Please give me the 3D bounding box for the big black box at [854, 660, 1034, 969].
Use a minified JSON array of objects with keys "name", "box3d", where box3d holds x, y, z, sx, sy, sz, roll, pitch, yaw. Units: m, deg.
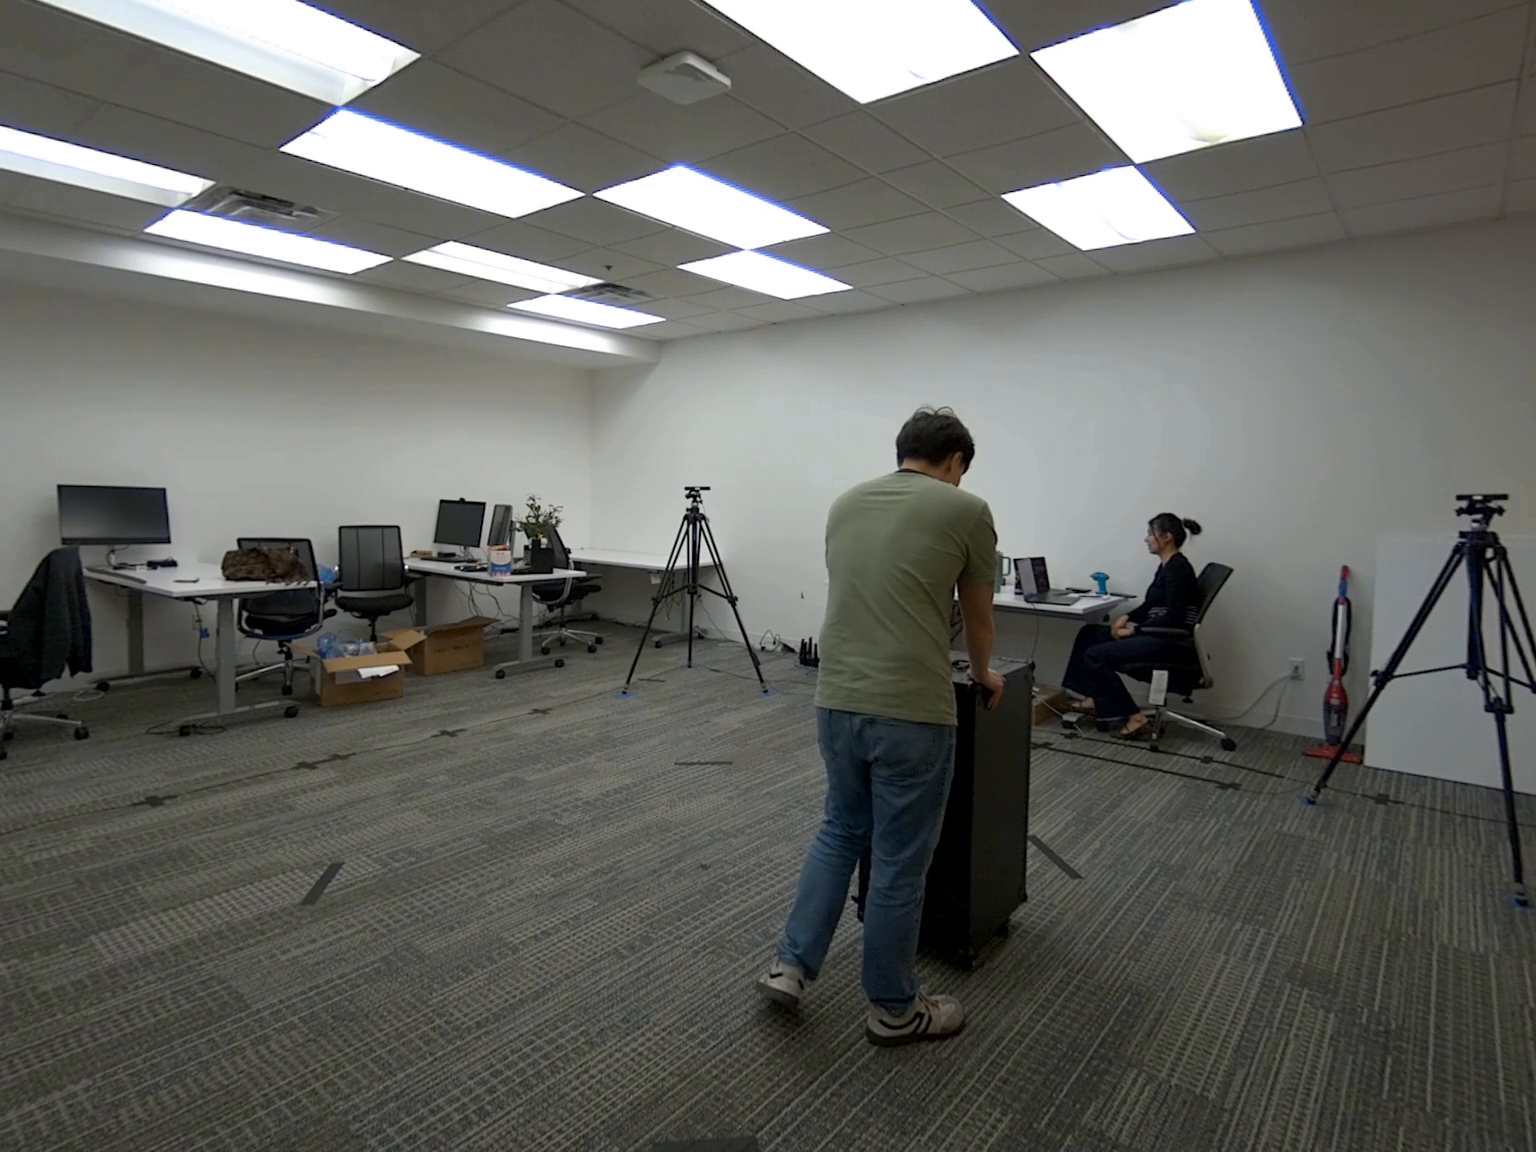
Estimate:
[{"name":"big black box","box3d":[0.552,0.702,2.677,0.409,0.860,0.506,2,3,36]}]
